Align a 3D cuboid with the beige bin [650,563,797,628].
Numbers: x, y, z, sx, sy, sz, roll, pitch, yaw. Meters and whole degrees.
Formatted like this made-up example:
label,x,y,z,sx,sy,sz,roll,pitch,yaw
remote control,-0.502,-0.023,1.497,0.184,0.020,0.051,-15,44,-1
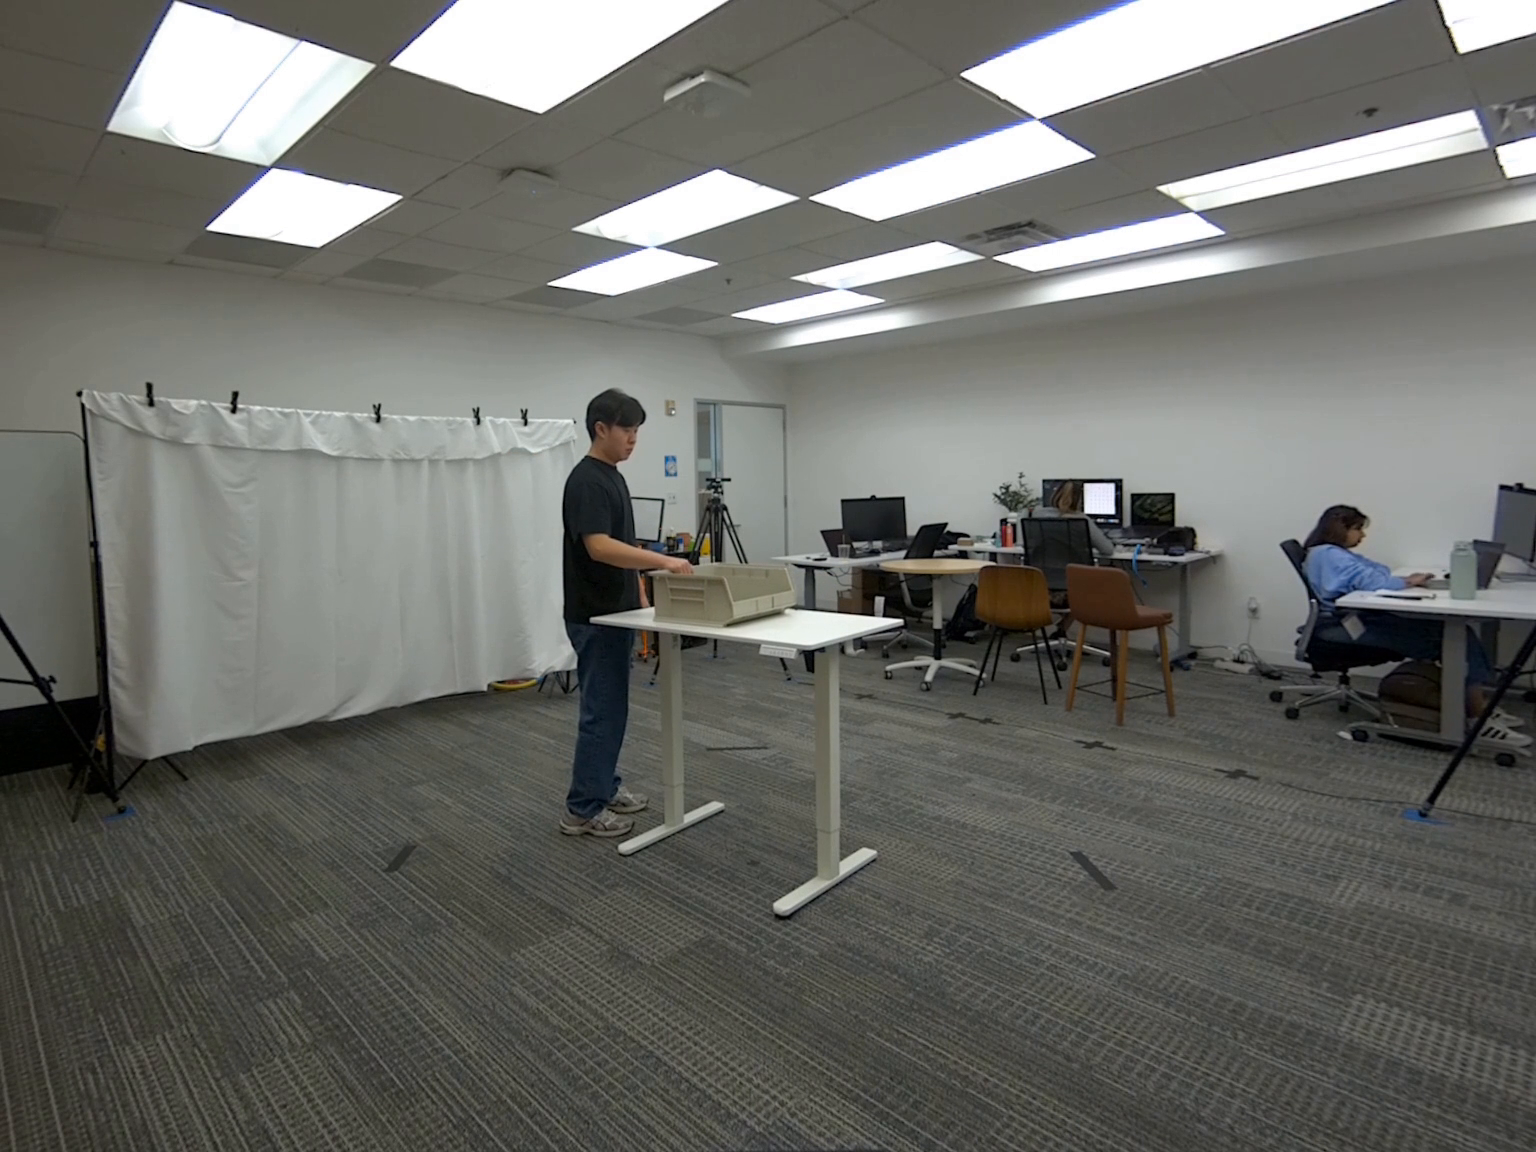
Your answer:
label,x,y,z,sx,sy,sz,roll,pitch,yaw
beige bin,-0.165,0.067,3.171,0.388,0.188,0.412,2,7,34
